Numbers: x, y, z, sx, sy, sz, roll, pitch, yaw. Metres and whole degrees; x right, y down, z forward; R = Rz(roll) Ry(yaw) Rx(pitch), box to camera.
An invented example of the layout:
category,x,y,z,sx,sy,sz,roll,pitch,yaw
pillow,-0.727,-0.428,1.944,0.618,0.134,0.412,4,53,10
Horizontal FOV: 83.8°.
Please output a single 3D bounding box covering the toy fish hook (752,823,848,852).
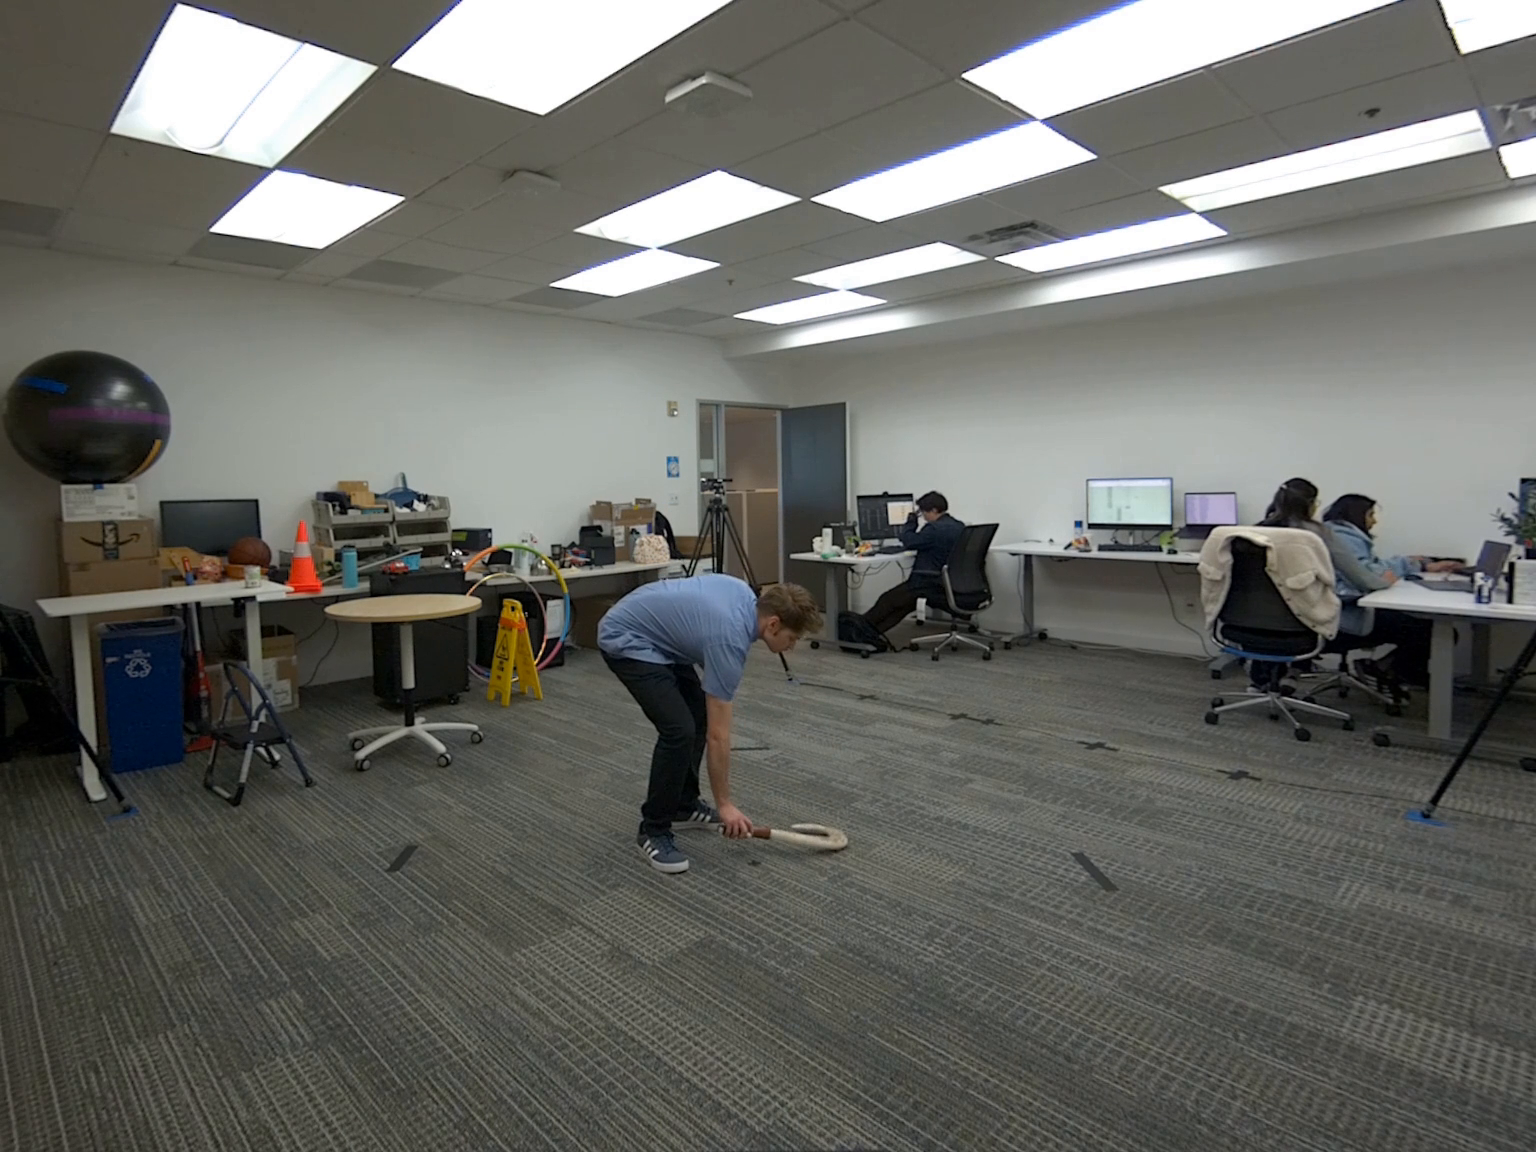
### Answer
category,x,y,z,sx,sy,sz,roll,pitch,yaw
toy fish hook,0.053,0.972,3.255,0.503,0.048,0.226,8,-2,-7
